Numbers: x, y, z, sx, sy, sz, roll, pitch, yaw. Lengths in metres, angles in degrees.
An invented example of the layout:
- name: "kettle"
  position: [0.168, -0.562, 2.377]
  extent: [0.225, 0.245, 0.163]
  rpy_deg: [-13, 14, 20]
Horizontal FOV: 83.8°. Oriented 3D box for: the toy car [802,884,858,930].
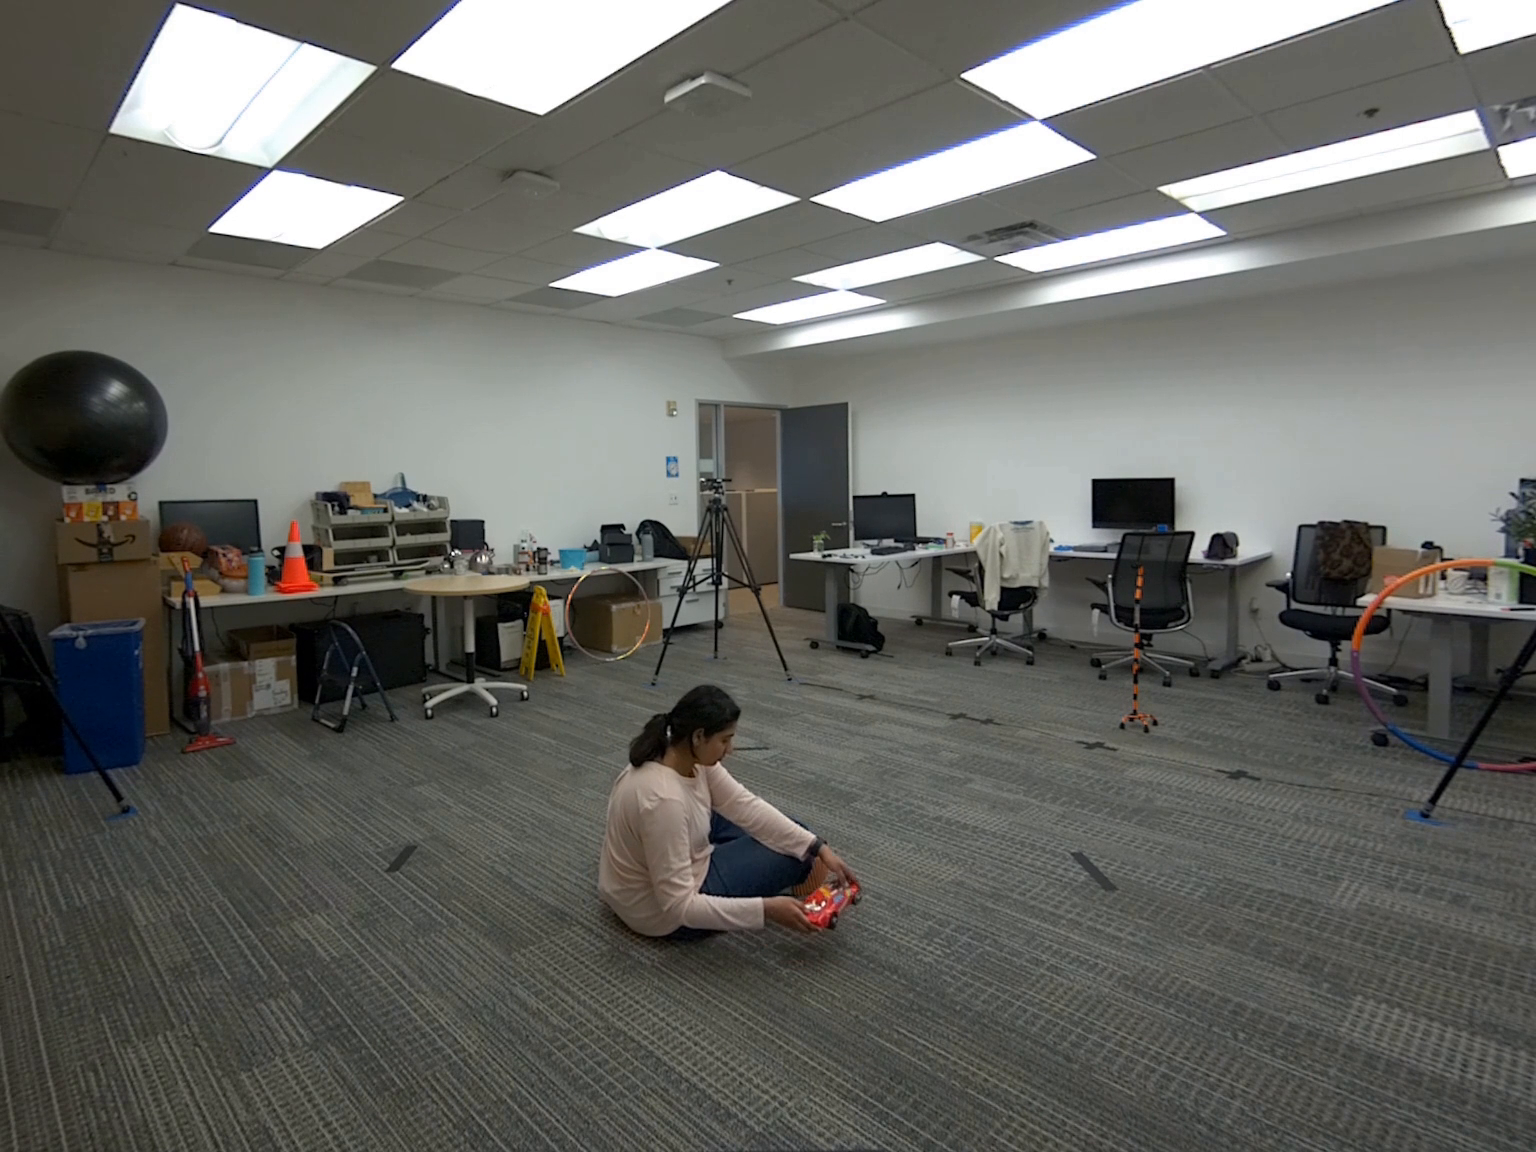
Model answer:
- name: "toy car"
  position: [0.164, 0.979, 2.548]
  extent: [0.134, 0.083, 0.247]
  rpy_deg: [1, -1, 35]
